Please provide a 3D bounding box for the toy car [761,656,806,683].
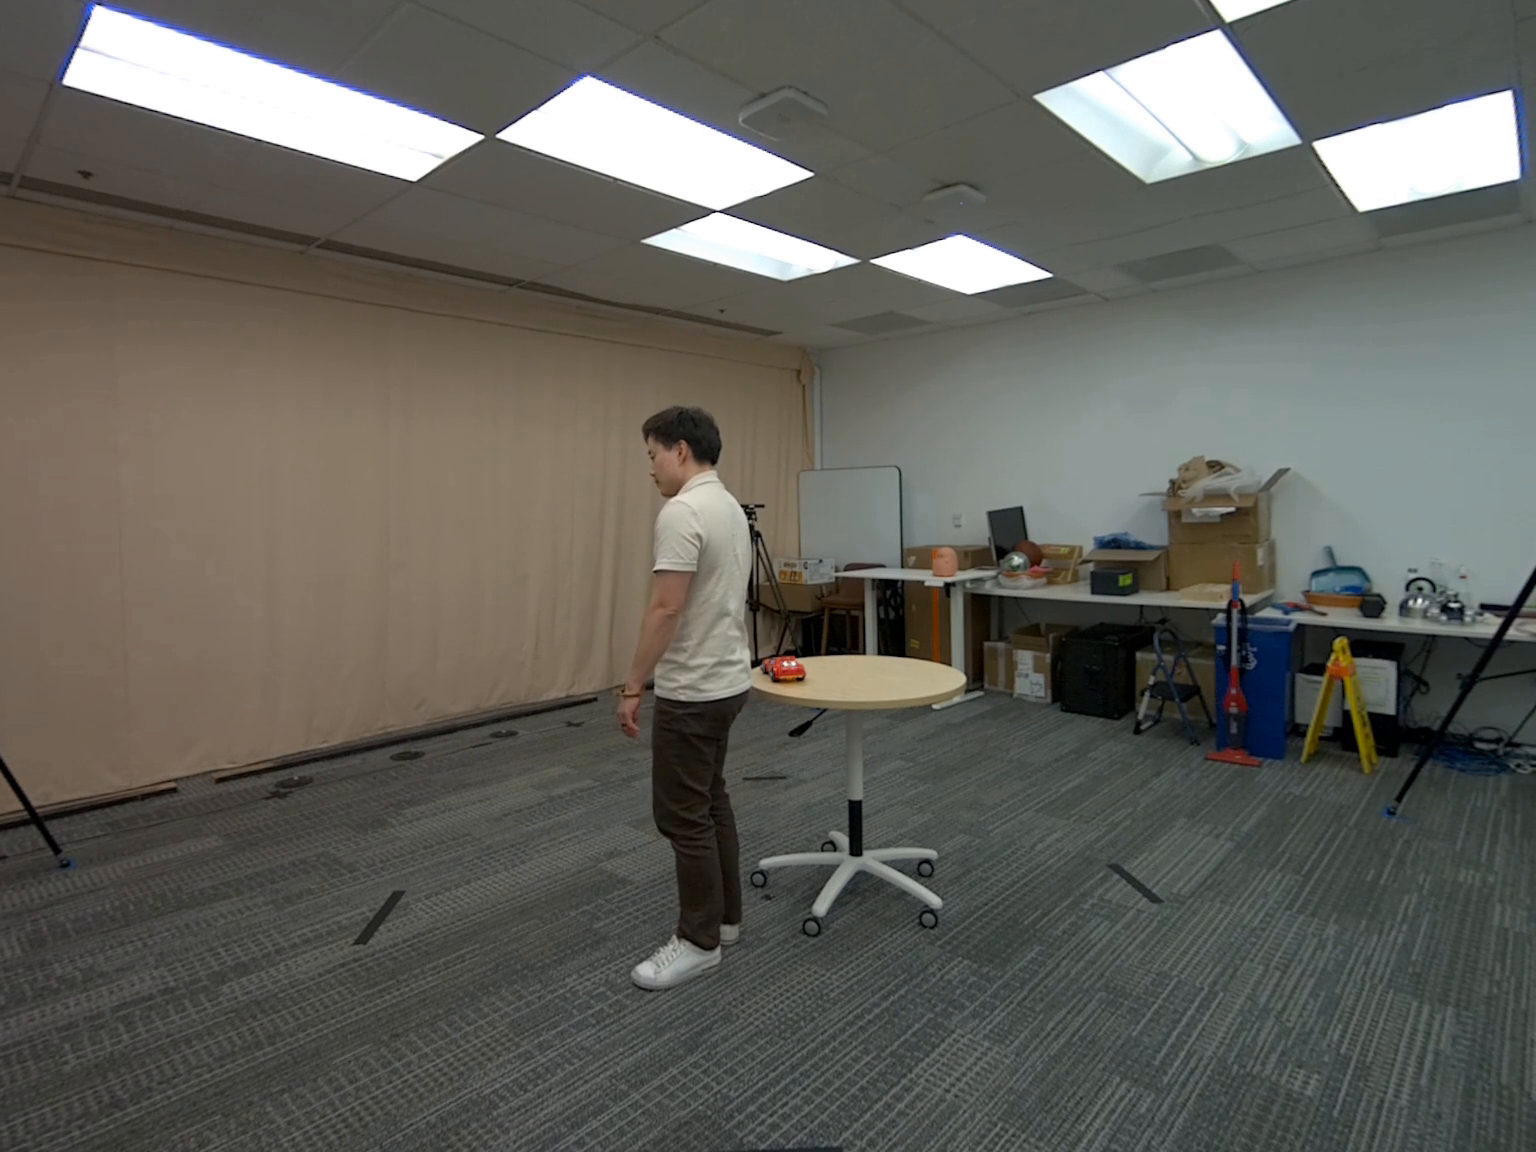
[{"bbox_3d":[0.062,0.326,2.951,0.129,0.083,0.256,-3,-6,-11],"label":"toy car"}]
